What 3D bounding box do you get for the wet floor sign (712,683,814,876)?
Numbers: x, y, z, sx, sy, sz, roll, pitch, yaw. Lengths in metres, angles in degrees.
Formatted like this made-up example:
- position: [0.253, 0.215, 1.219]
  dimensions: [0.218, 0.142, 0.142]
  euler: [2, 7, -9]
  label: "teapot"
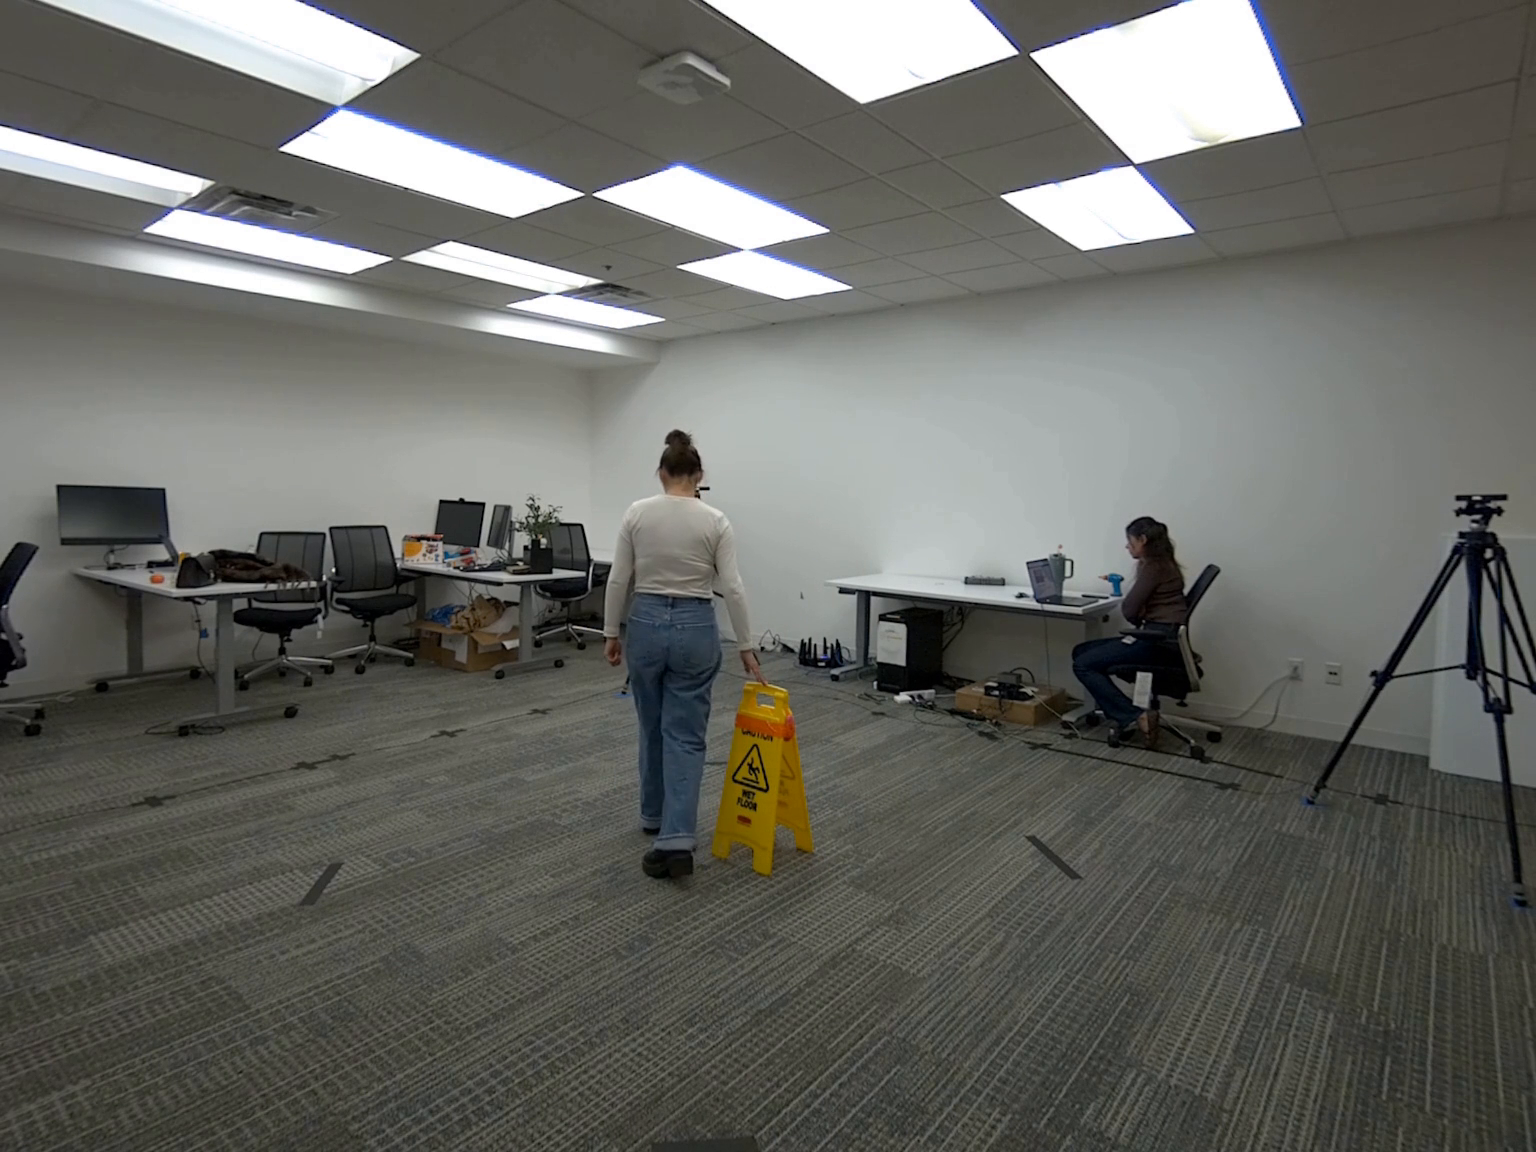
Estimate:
- position: [-0.020, 0.734, 3.233]
  dimensions: [0.292, 0.644, 0.281]
  euler: [4, 4, 39]
  label: "wet floor sign"
